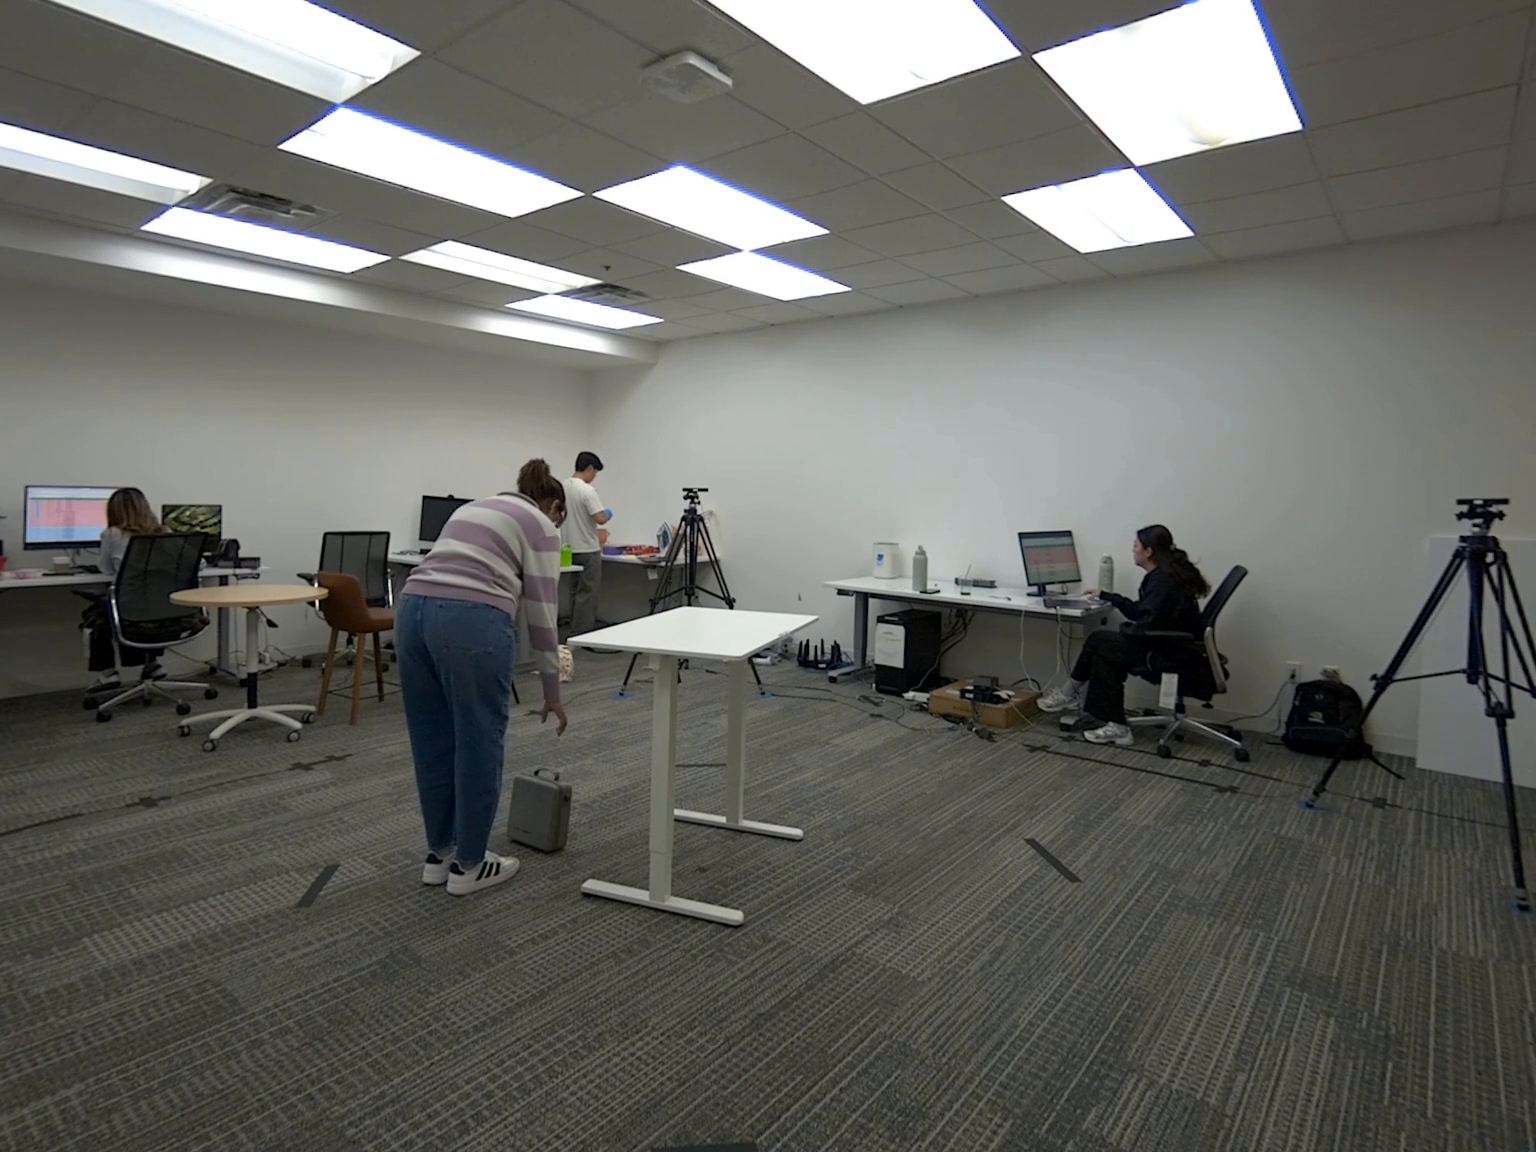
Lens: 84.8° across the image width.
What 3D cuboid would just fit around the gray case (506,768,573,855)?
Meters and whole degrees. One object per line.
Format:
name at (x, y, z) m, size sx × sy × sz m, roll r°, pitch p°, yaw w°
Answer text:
gray case at (-0.906, 0.907, 3.309) m, size 0.265 × 0.262 × 0.100 m, roll 3°, pitch -6°, yaw 35°
